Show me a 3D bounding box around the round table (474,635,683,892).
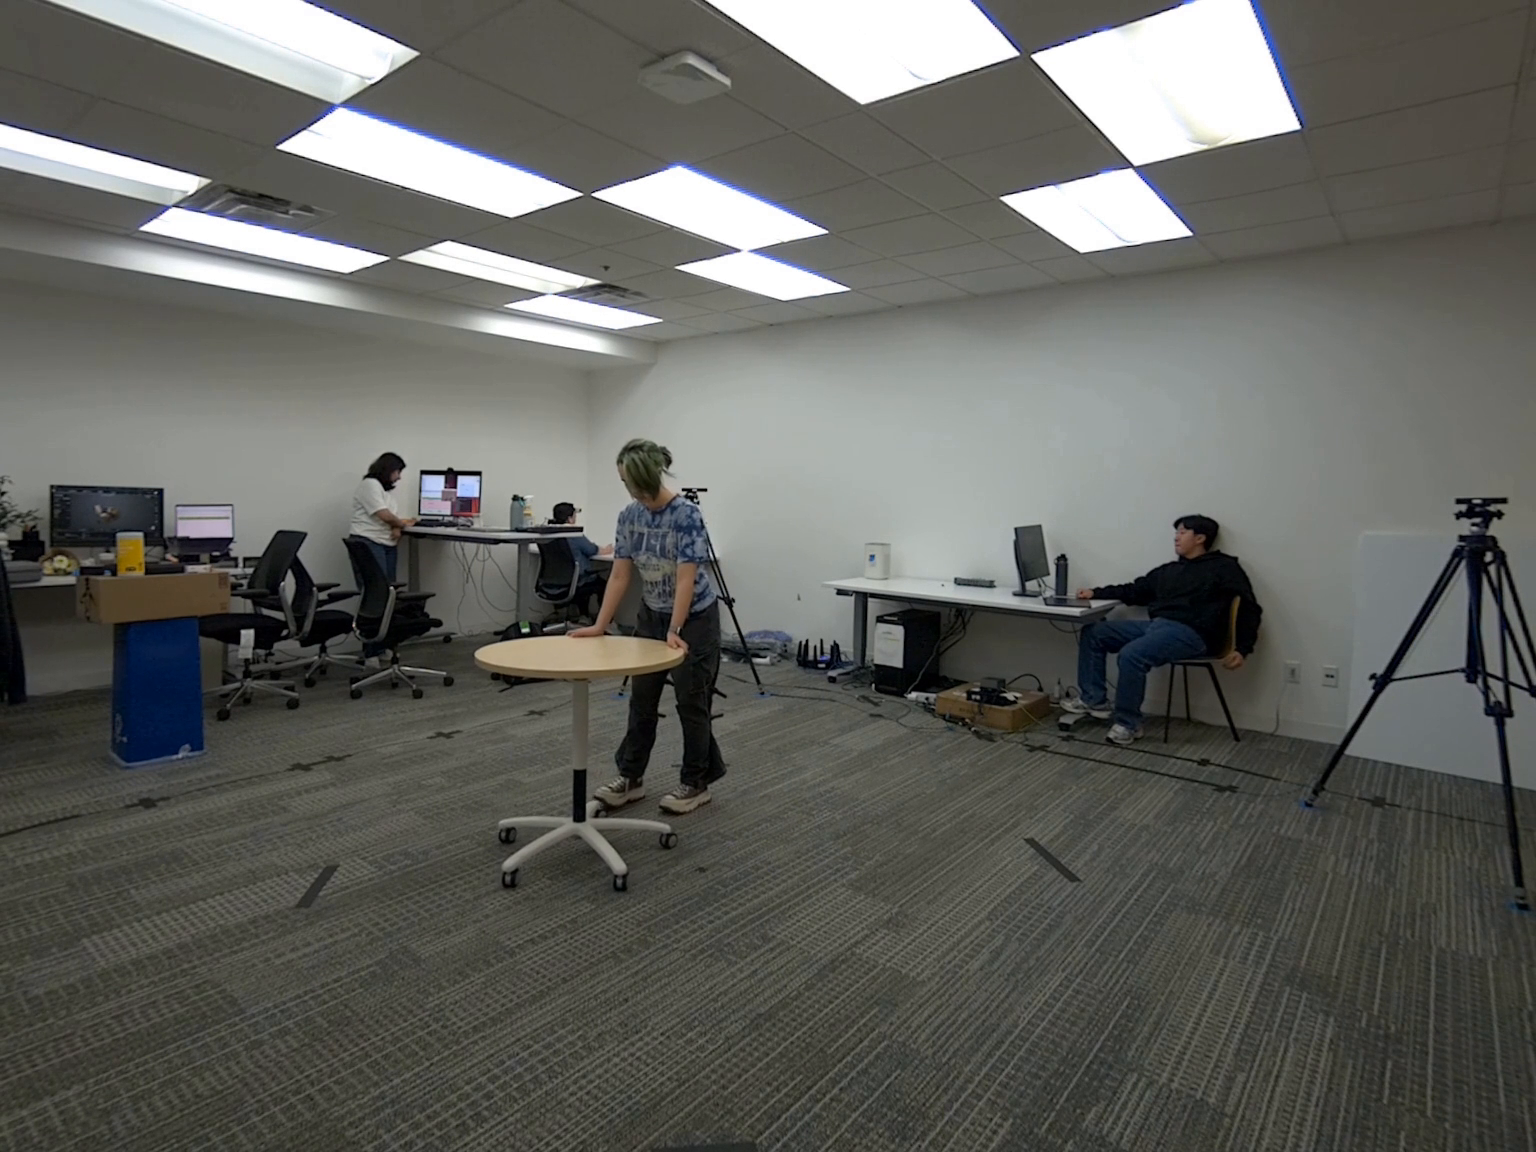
[{"bbox_3d":[-0.719,0.667,3.180,0.763,0.792,0.767,1,3,-2],"label":"round table"}]
